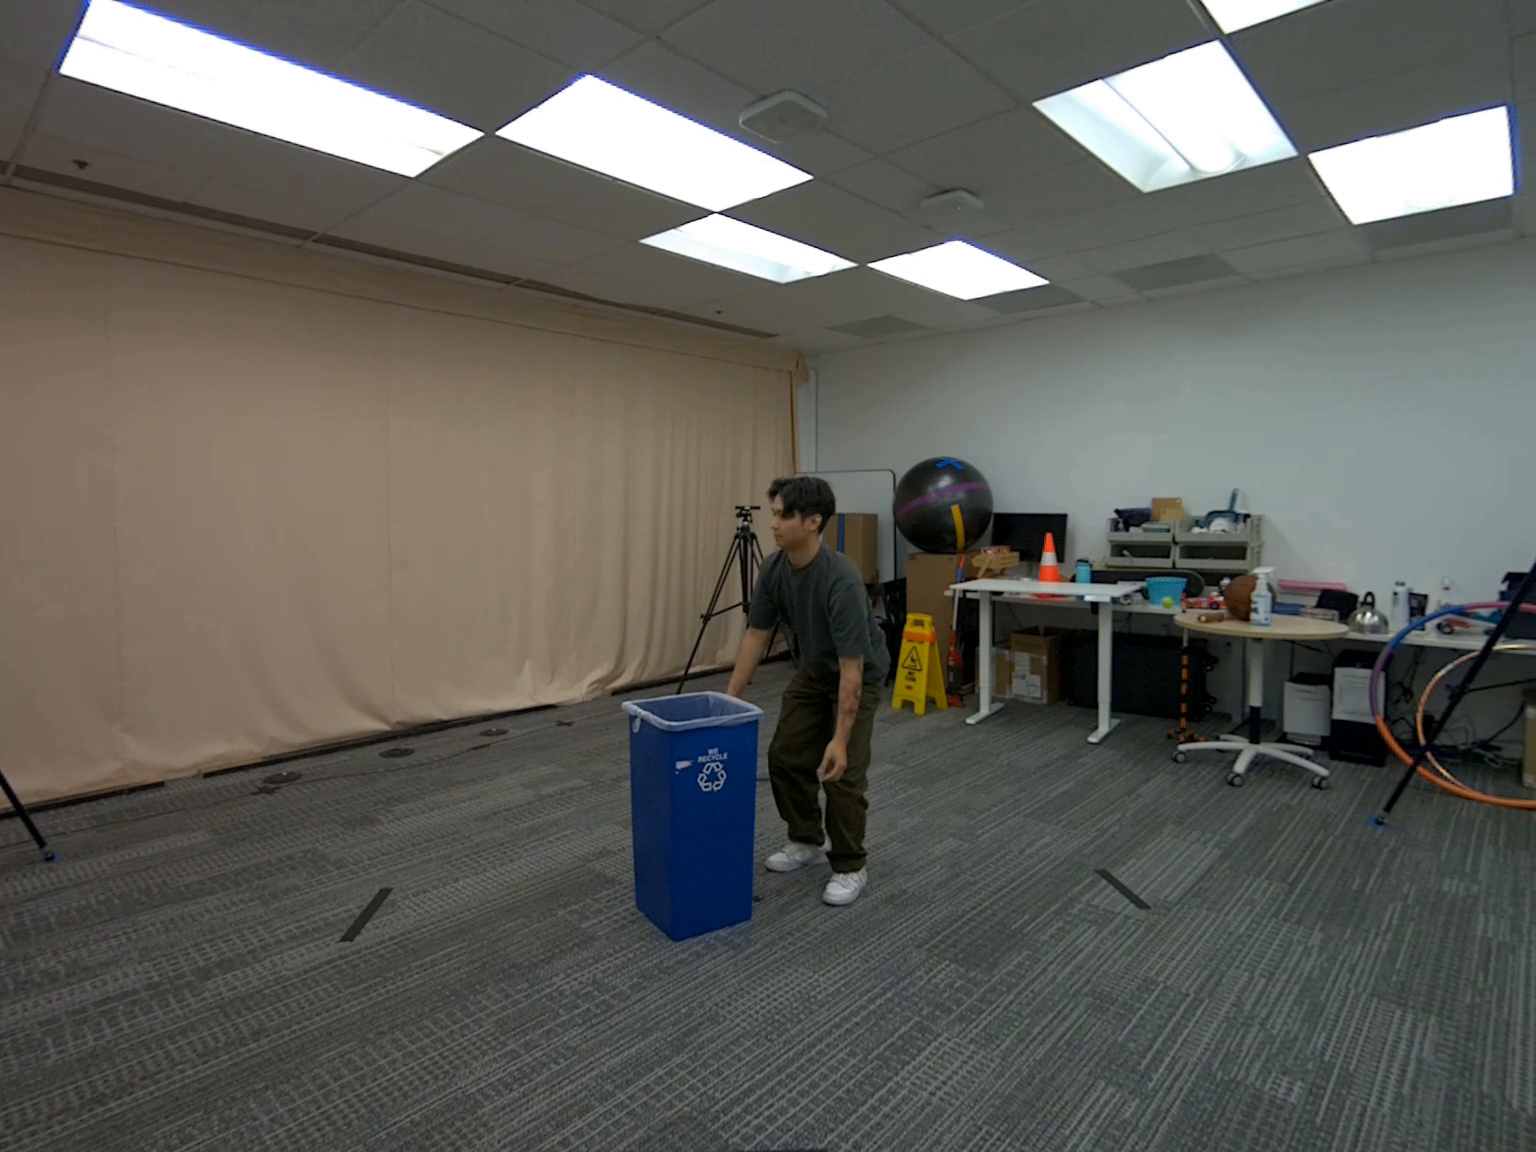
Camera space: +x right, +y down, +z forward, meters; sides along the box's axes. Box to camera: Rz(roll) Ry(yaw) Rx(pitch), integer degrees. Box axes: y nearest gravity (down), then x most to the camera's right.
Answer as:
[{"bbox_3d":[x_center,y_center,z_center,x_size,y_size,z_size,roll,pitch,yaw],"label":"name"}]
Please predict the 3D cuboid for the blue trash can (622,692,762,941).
[{"bbox_3d":[-0.243,0.794,2.867,0.367,0.712,0.385,-1,3,-33],"label":"blue trash can"}]
